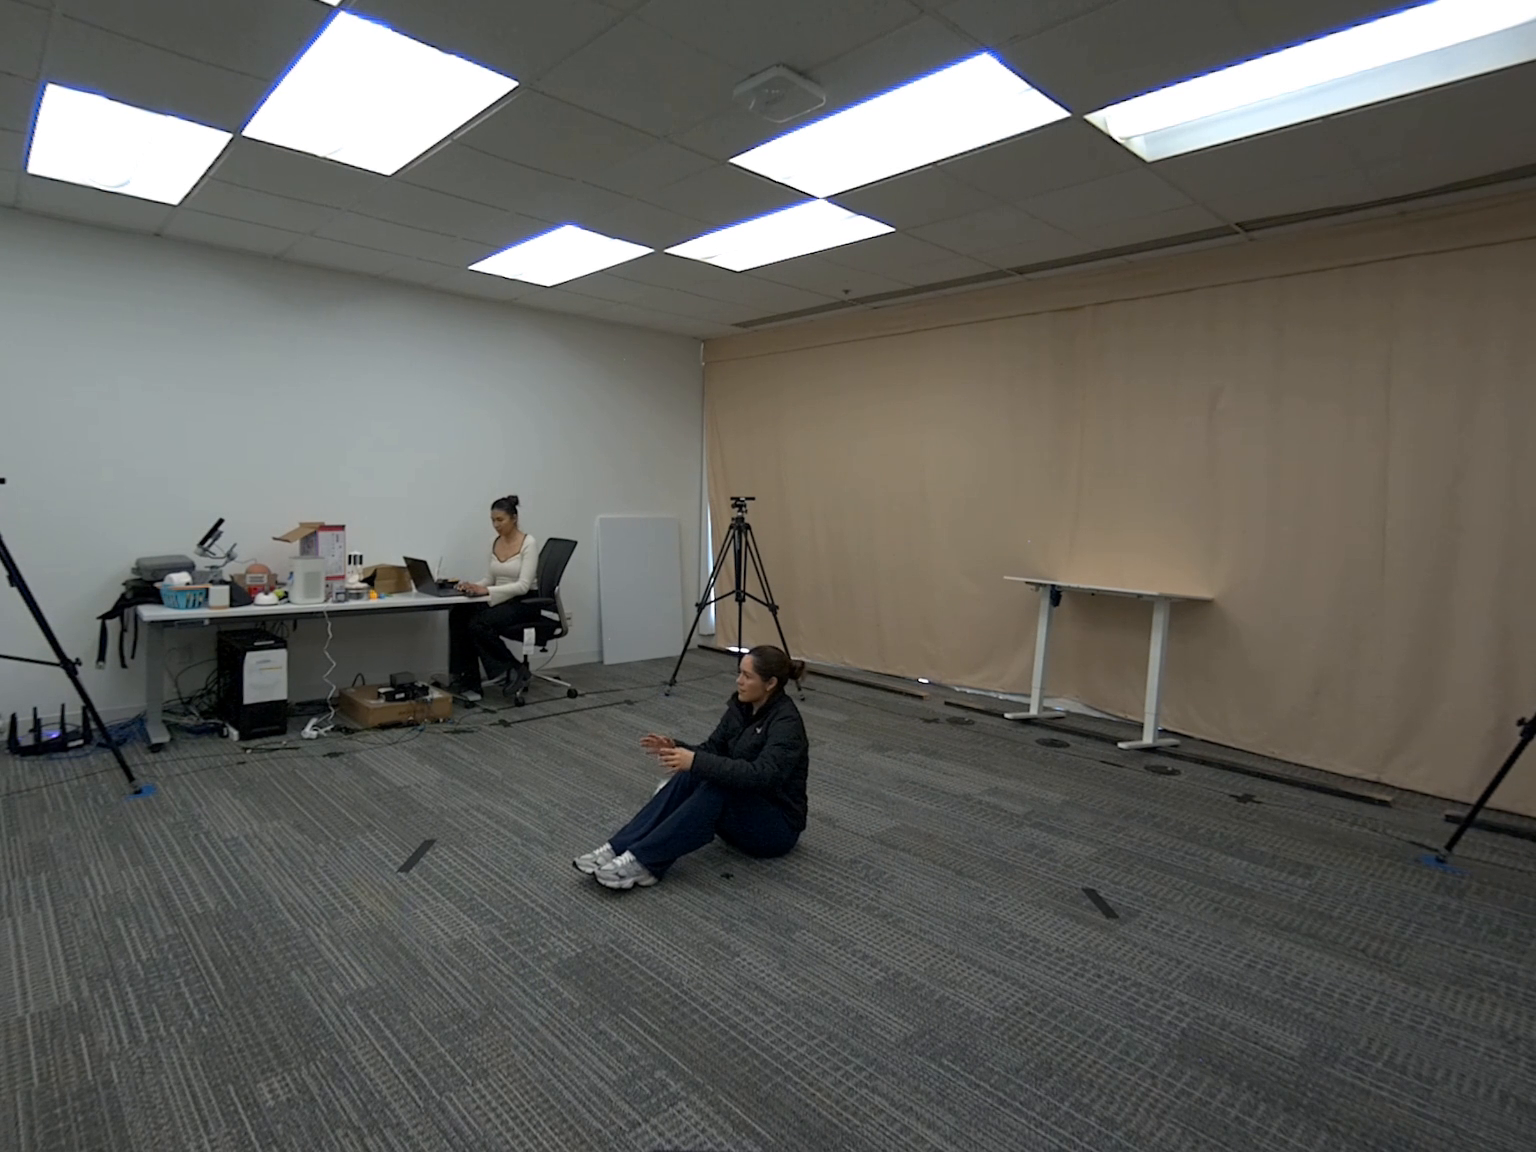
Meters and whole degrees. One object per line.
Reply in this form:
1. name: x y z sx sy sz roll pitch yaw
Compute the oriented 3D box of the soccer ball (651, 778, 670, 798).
1. soccer ball: -0.409 0.958 3.599 0.187 0.186 0.188 0 7 -1
